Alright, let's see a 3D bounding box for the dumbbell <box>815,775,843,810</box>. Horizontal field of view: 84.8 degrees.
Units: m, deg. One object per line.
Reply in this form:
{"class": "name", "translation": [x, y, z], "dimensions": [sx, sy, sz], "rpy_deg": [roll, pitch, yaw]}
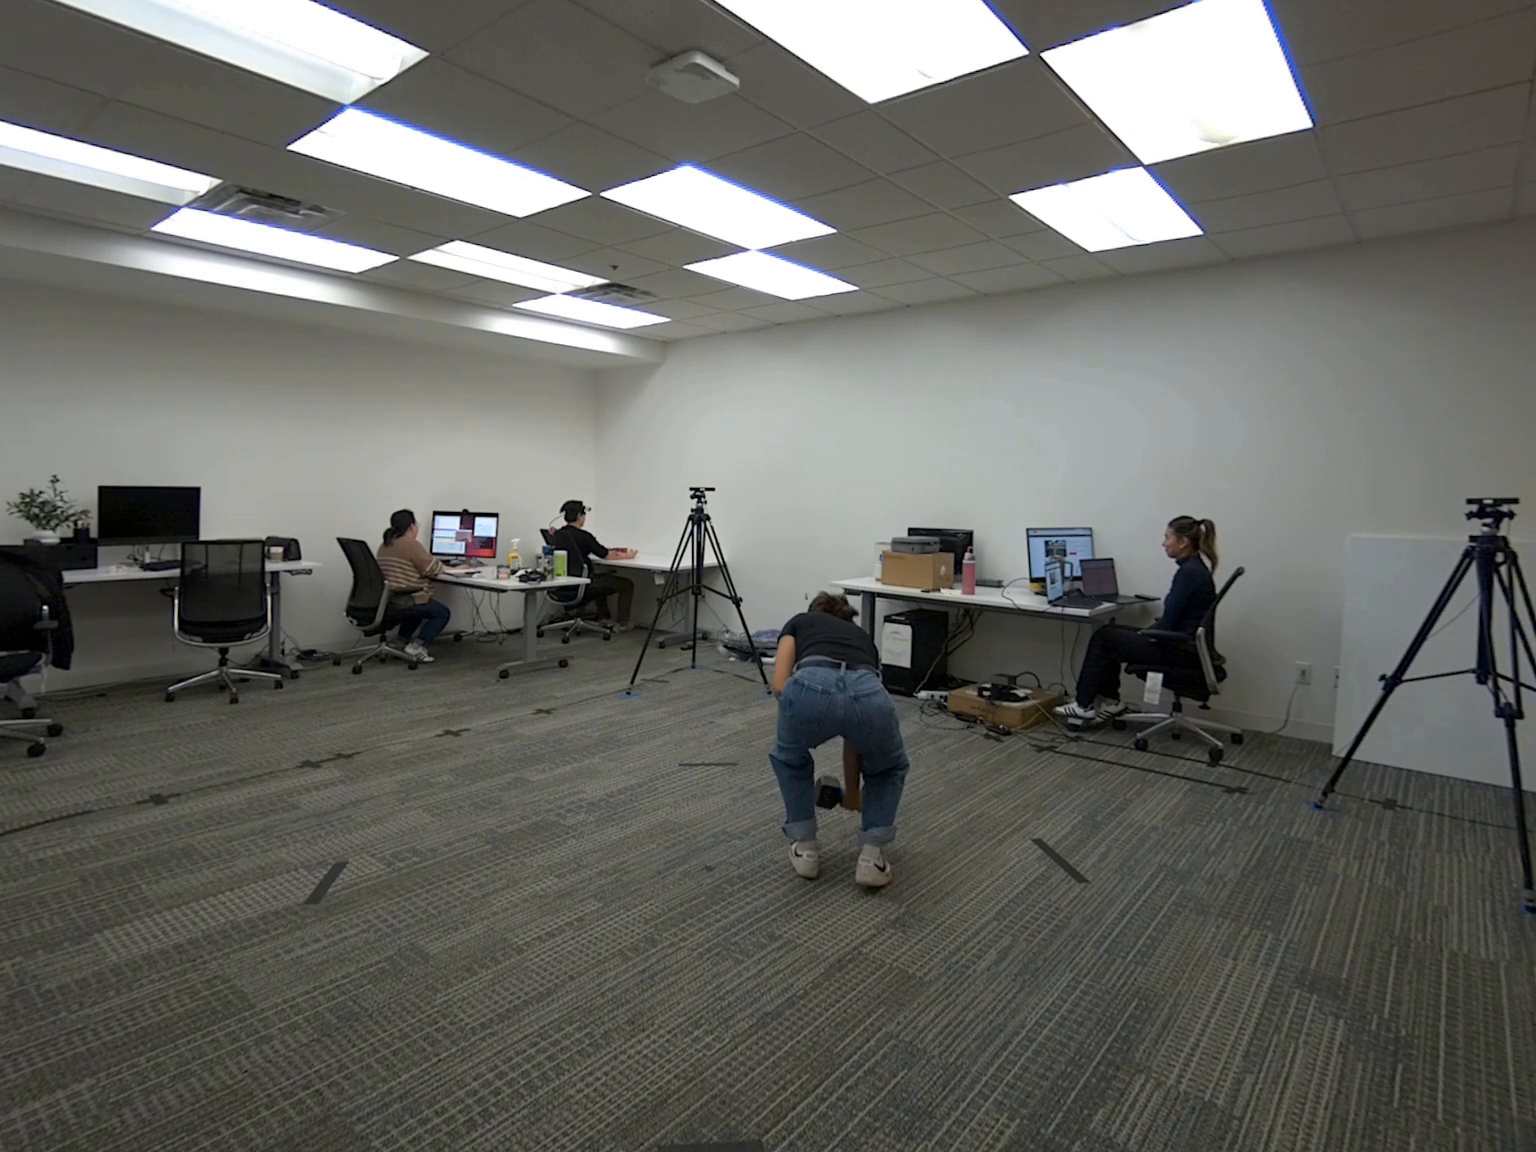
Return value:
{"class": "dumbbell", "translation": [0.327, 0.857, 3.321], "dimensions": [0.291, 0.111, 0.121], "rpy_deg": [13, -38, -7]}
